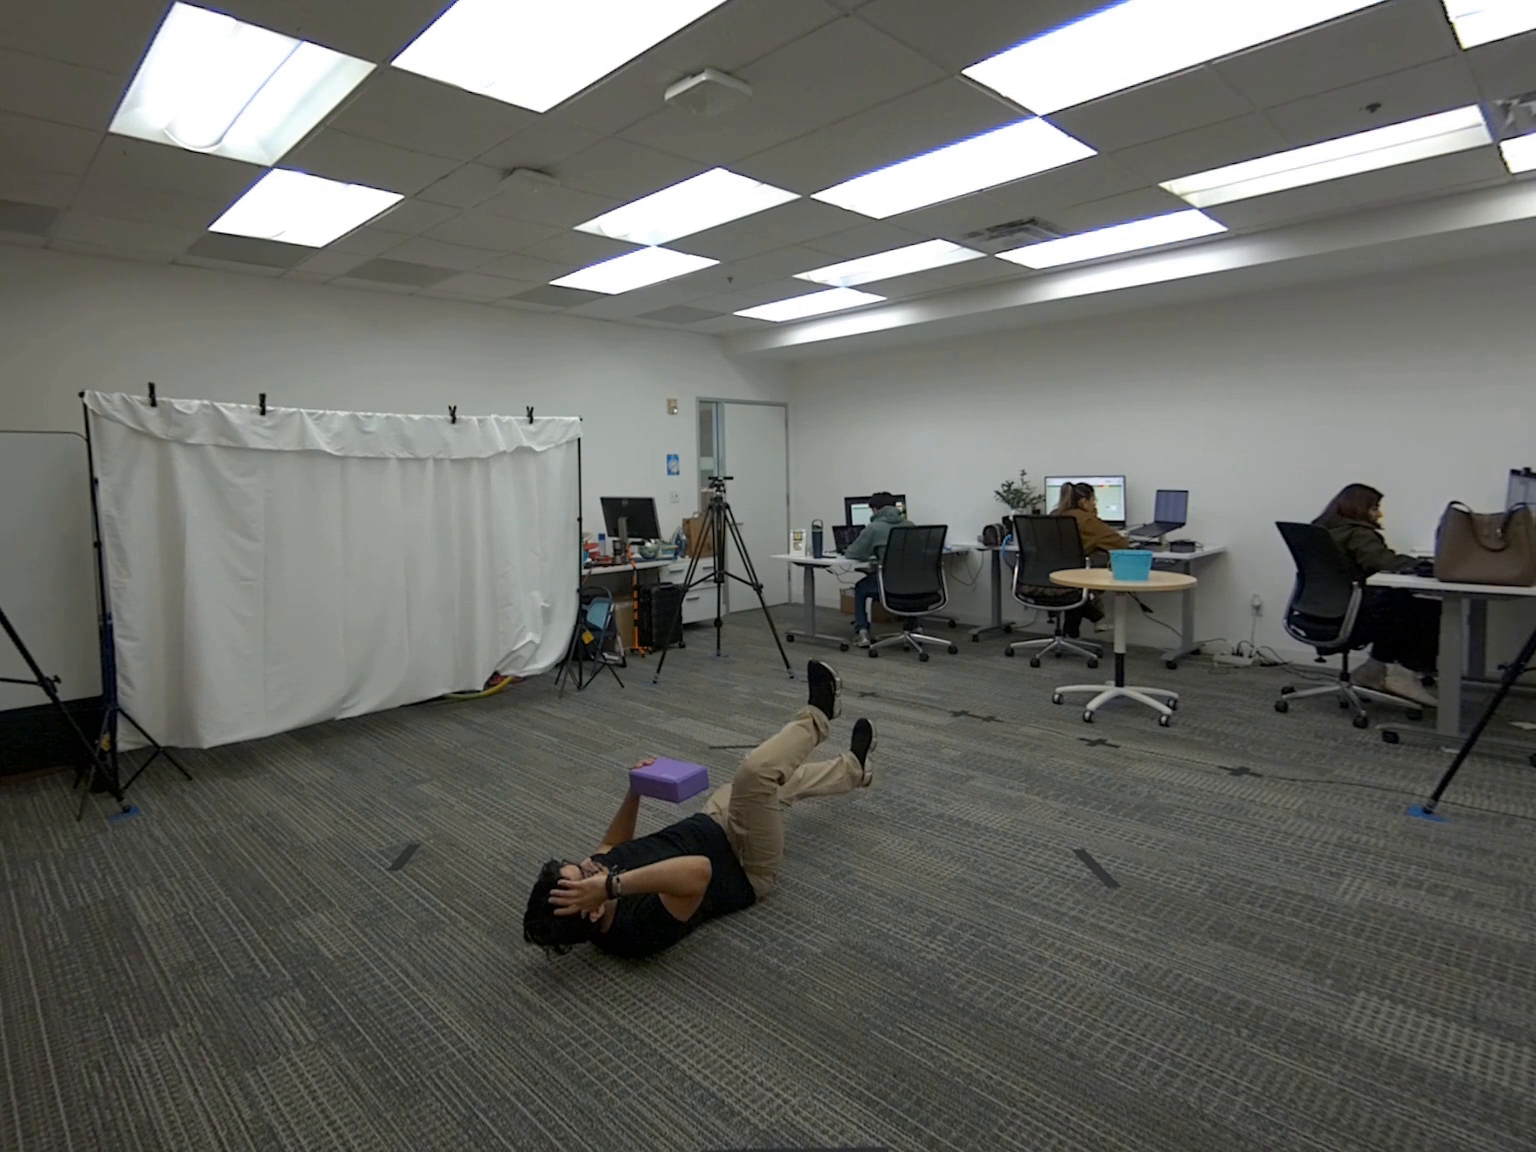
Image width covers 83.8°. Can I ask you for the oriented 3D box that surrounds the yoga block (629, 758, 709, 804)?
[{"bbox_3d":[-0.301,0.653,2.735,0.235,0.076,0.145,-3,6,41],"label":"yoga block"}]
